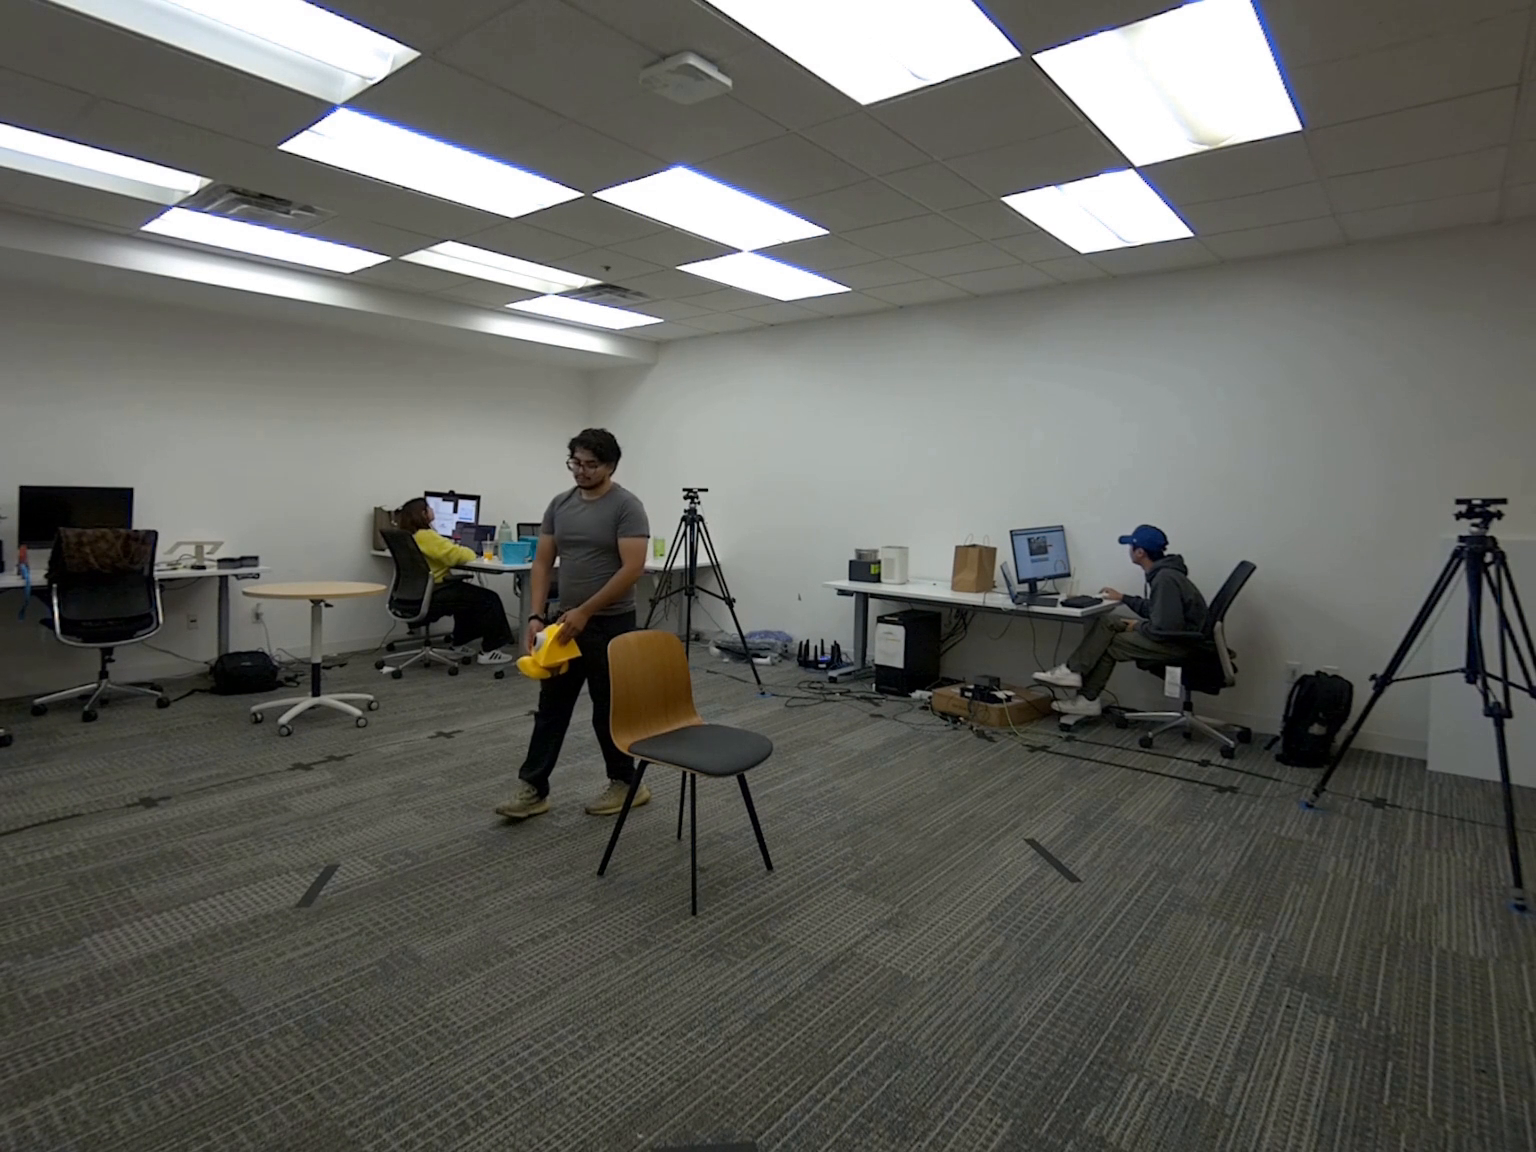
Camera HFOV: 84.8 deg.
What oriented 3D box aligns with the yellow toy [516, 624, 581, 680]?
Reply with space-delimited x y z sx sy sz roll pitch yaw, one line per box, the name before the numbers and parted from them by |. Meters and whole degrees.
yellow toy | -0.898 0.263 3.403 0.200 0.228 0.199 28 22 31
